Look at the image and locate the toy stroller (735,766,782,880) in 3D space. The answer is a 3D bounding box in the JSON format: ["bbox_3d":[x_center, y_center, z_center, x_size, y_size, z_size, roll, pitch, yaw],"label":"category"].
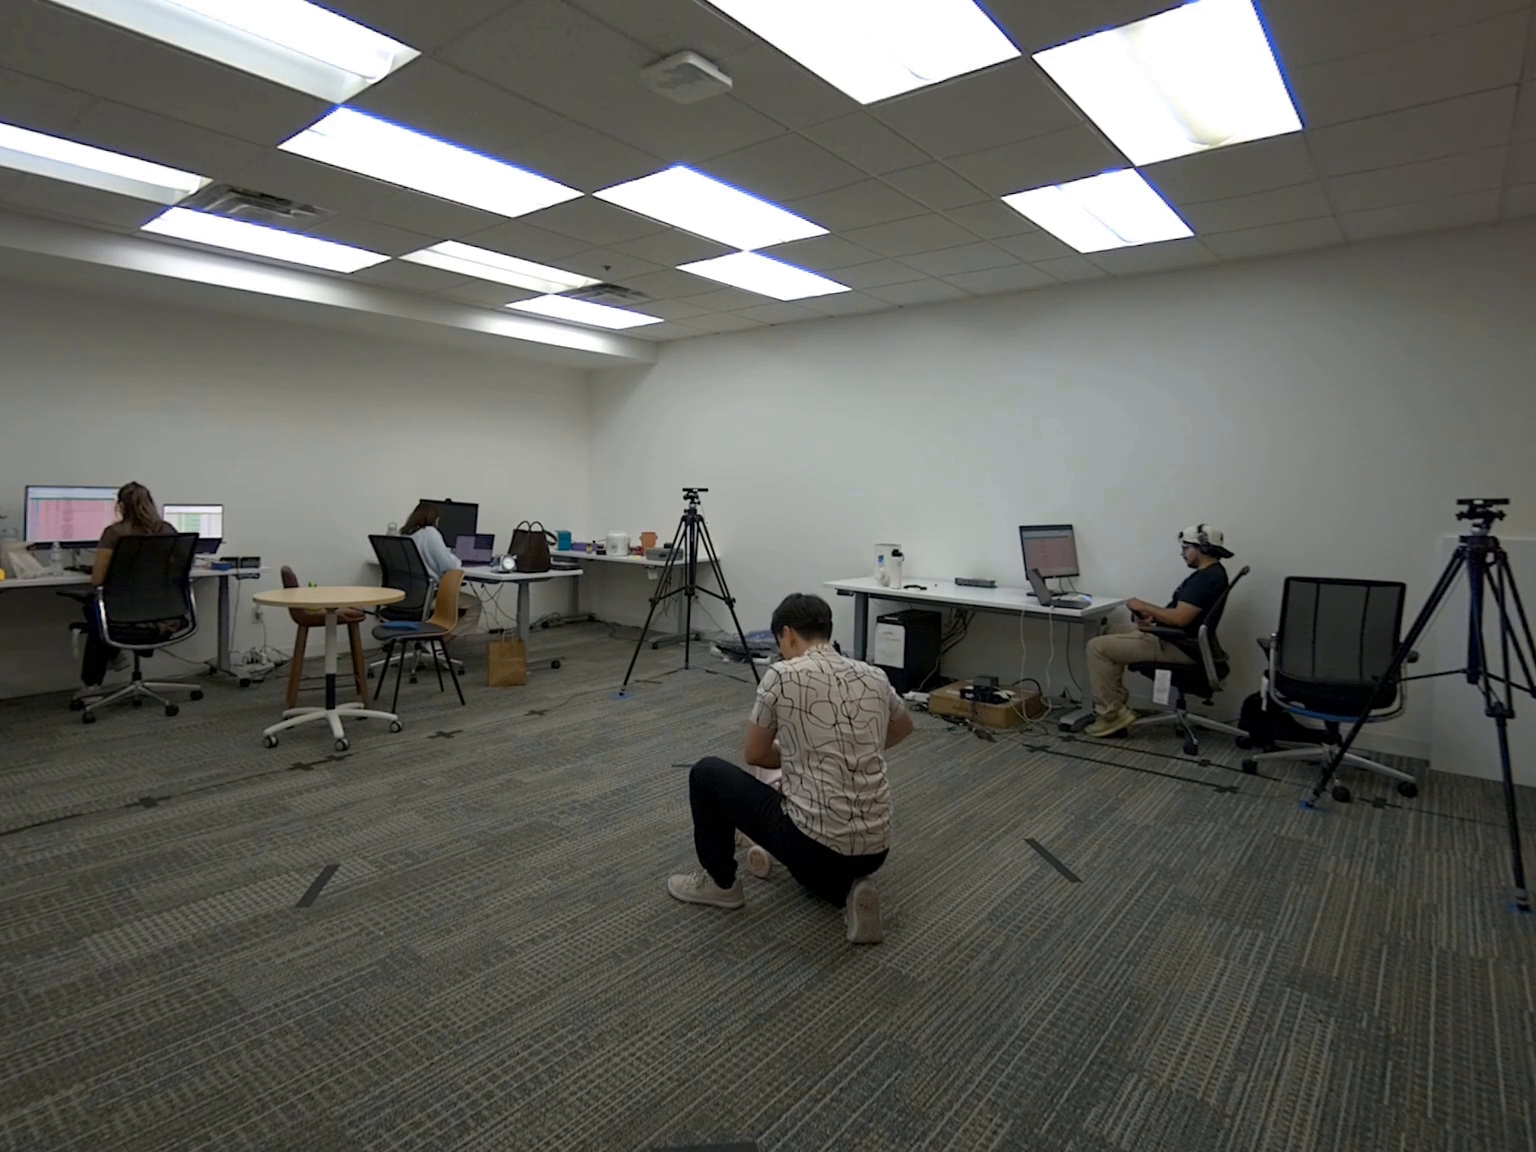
[{"bbox_3d":[0.007,0.835,3.182,0.273,0.529,0.356,-1,20,-40],"label":"toy stroller"}]
